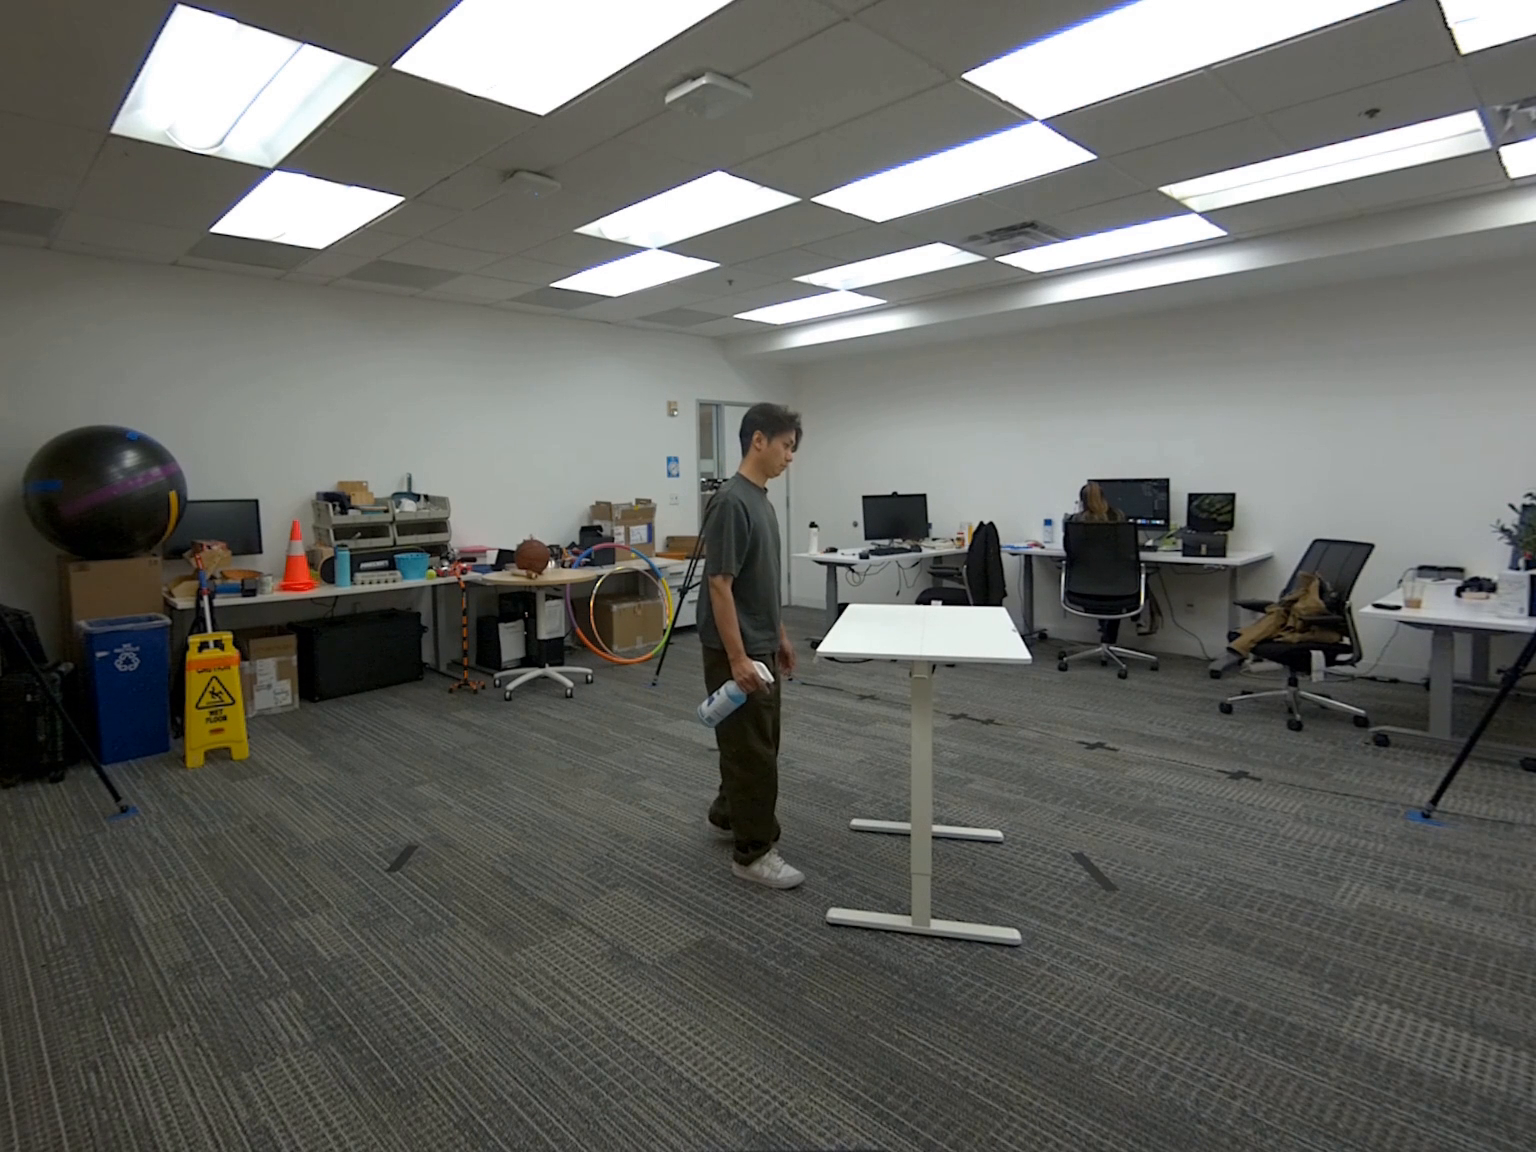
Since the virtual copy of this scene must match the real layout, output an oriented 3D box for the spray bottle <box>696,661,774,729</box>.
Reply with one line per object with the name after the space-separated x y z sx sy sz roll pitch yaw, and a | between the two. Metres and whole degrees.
-0.105 0.391 2.805 0.298 0.093 0.084 -41 -46 23 | spray bottle
